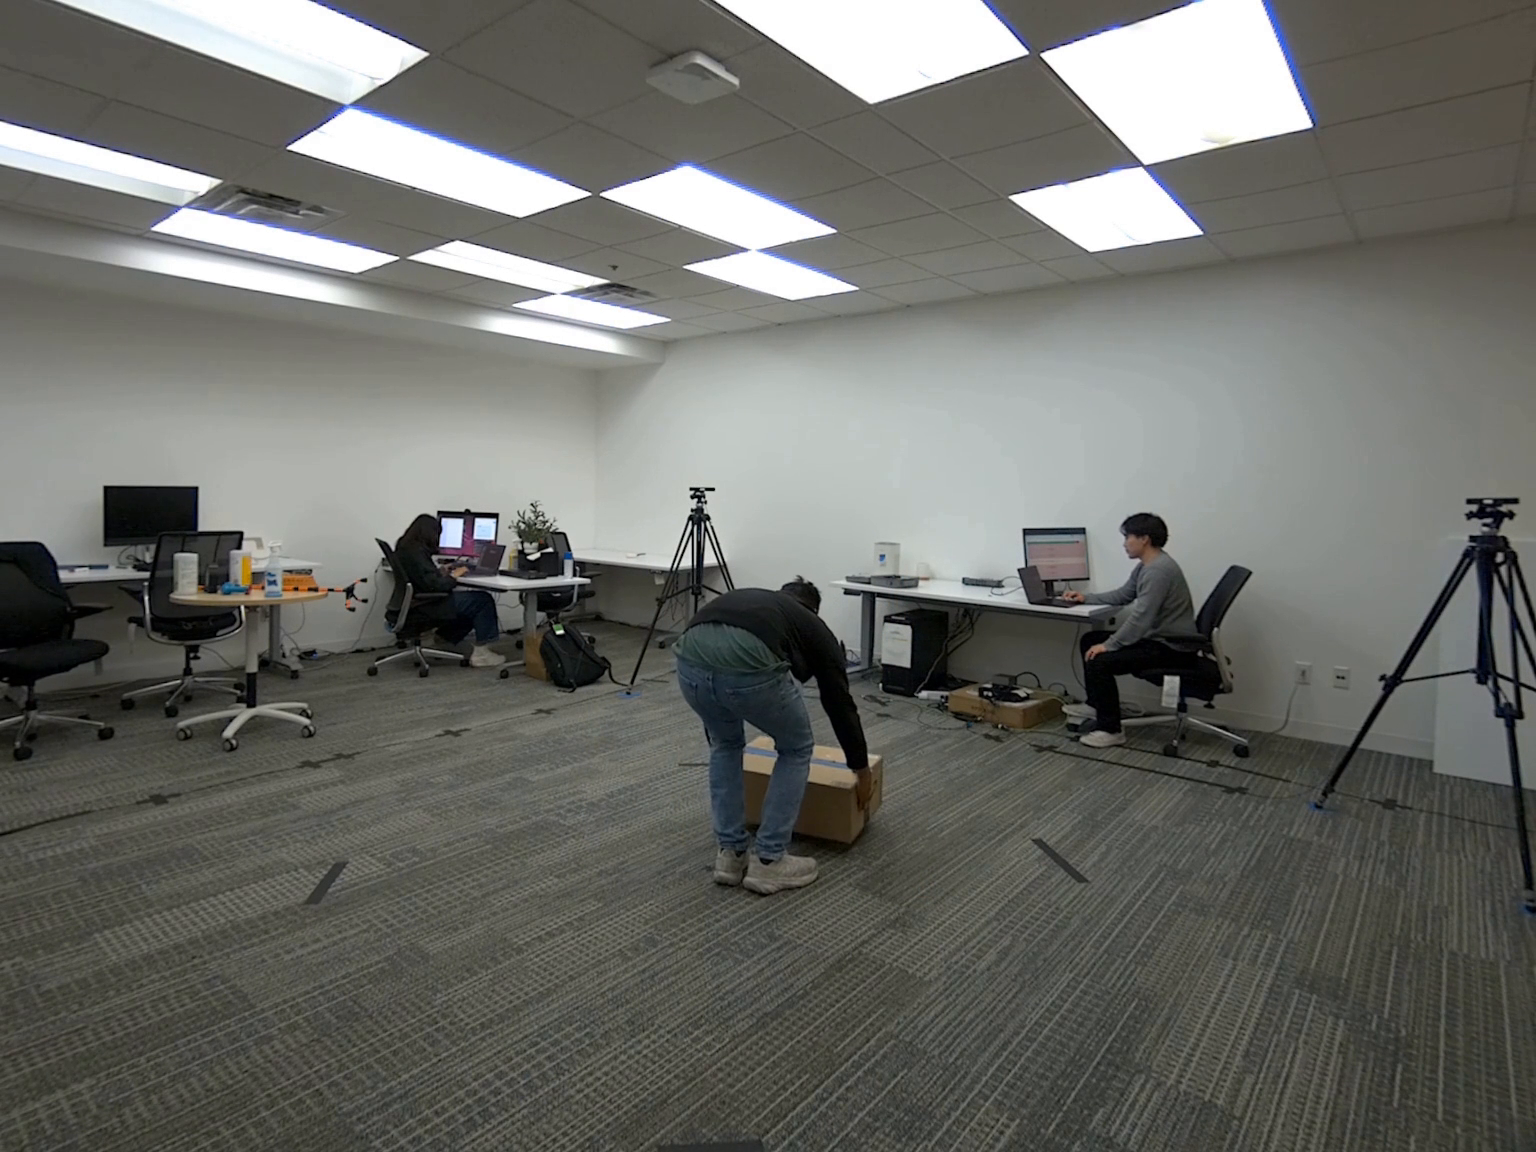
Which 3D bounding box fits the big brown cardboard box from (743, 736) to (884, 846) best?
[{"bbox_3d":[0.130,0.845,3.489,0.604,0.232,0.409,3,7,25],"label":"big brown cardboard box"}]
